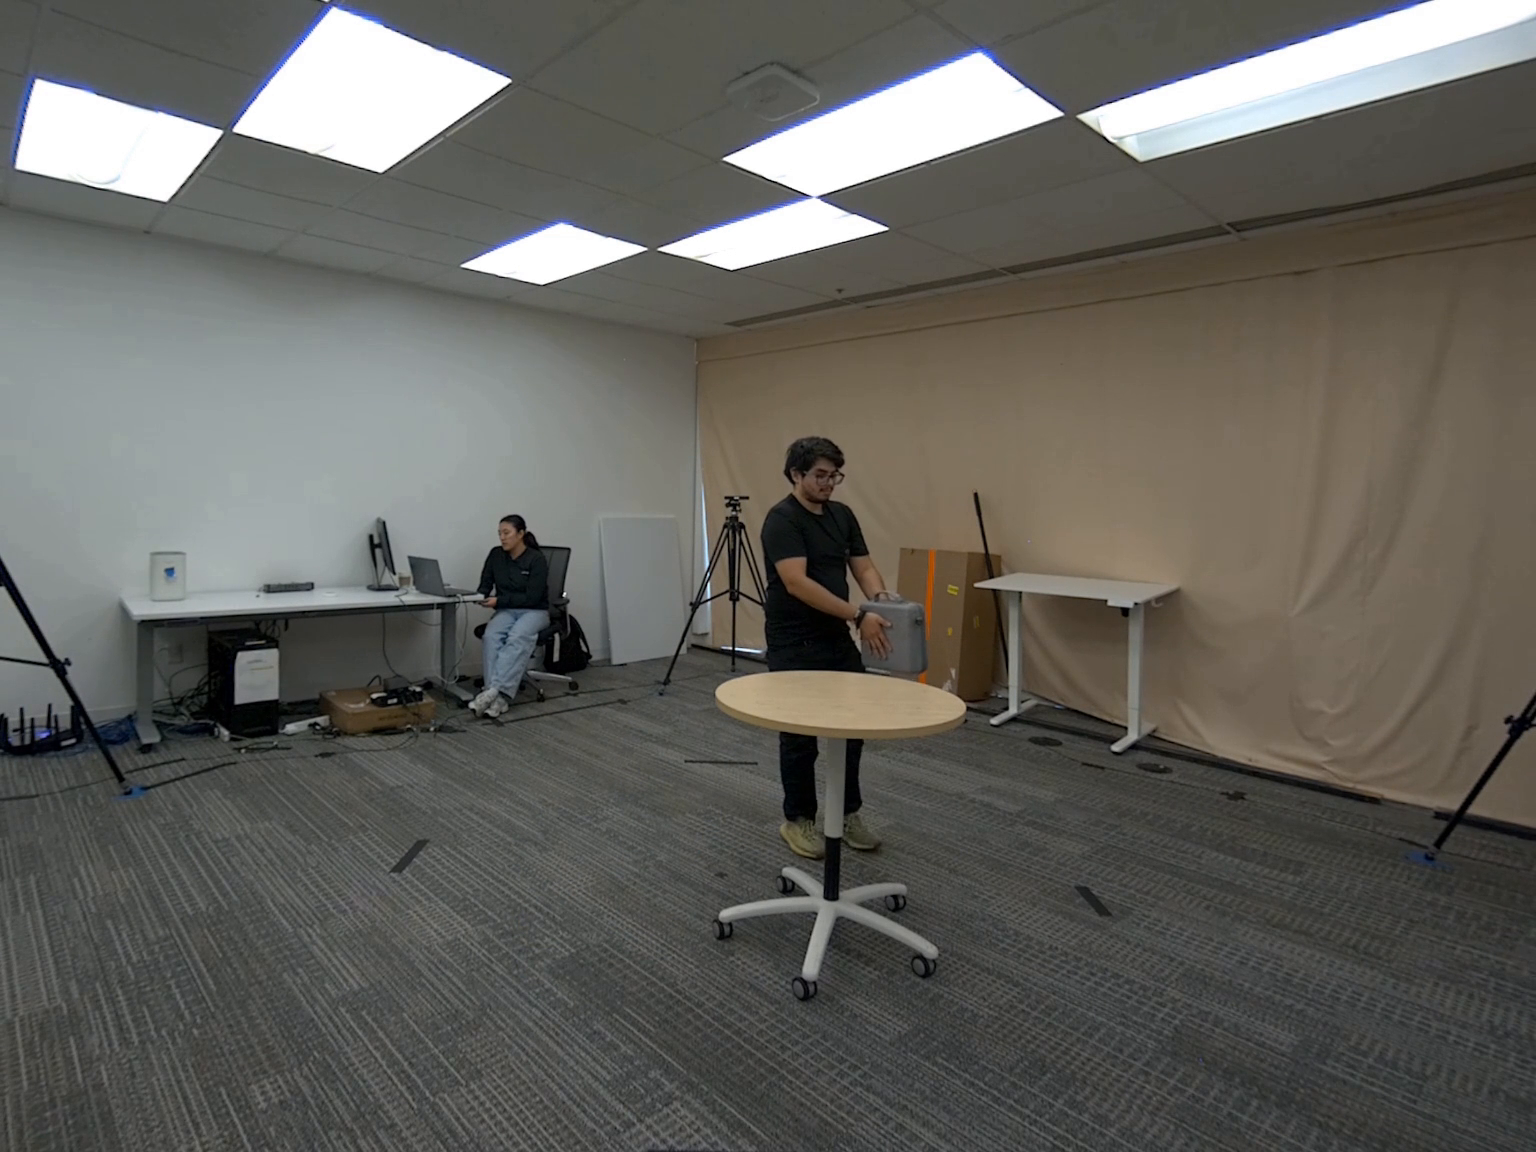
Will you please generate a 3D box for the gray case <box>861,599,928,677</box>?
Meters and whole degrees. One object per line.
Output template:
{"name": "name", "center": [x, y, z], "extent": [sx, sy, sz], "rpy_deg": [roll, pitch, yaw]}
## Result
{"name": "gray case", "center": [0.449, 0.218, 3.057], "extent": [0.102, 0.260, 0.263], "rpy_deg": [-5, 4, -38]}
